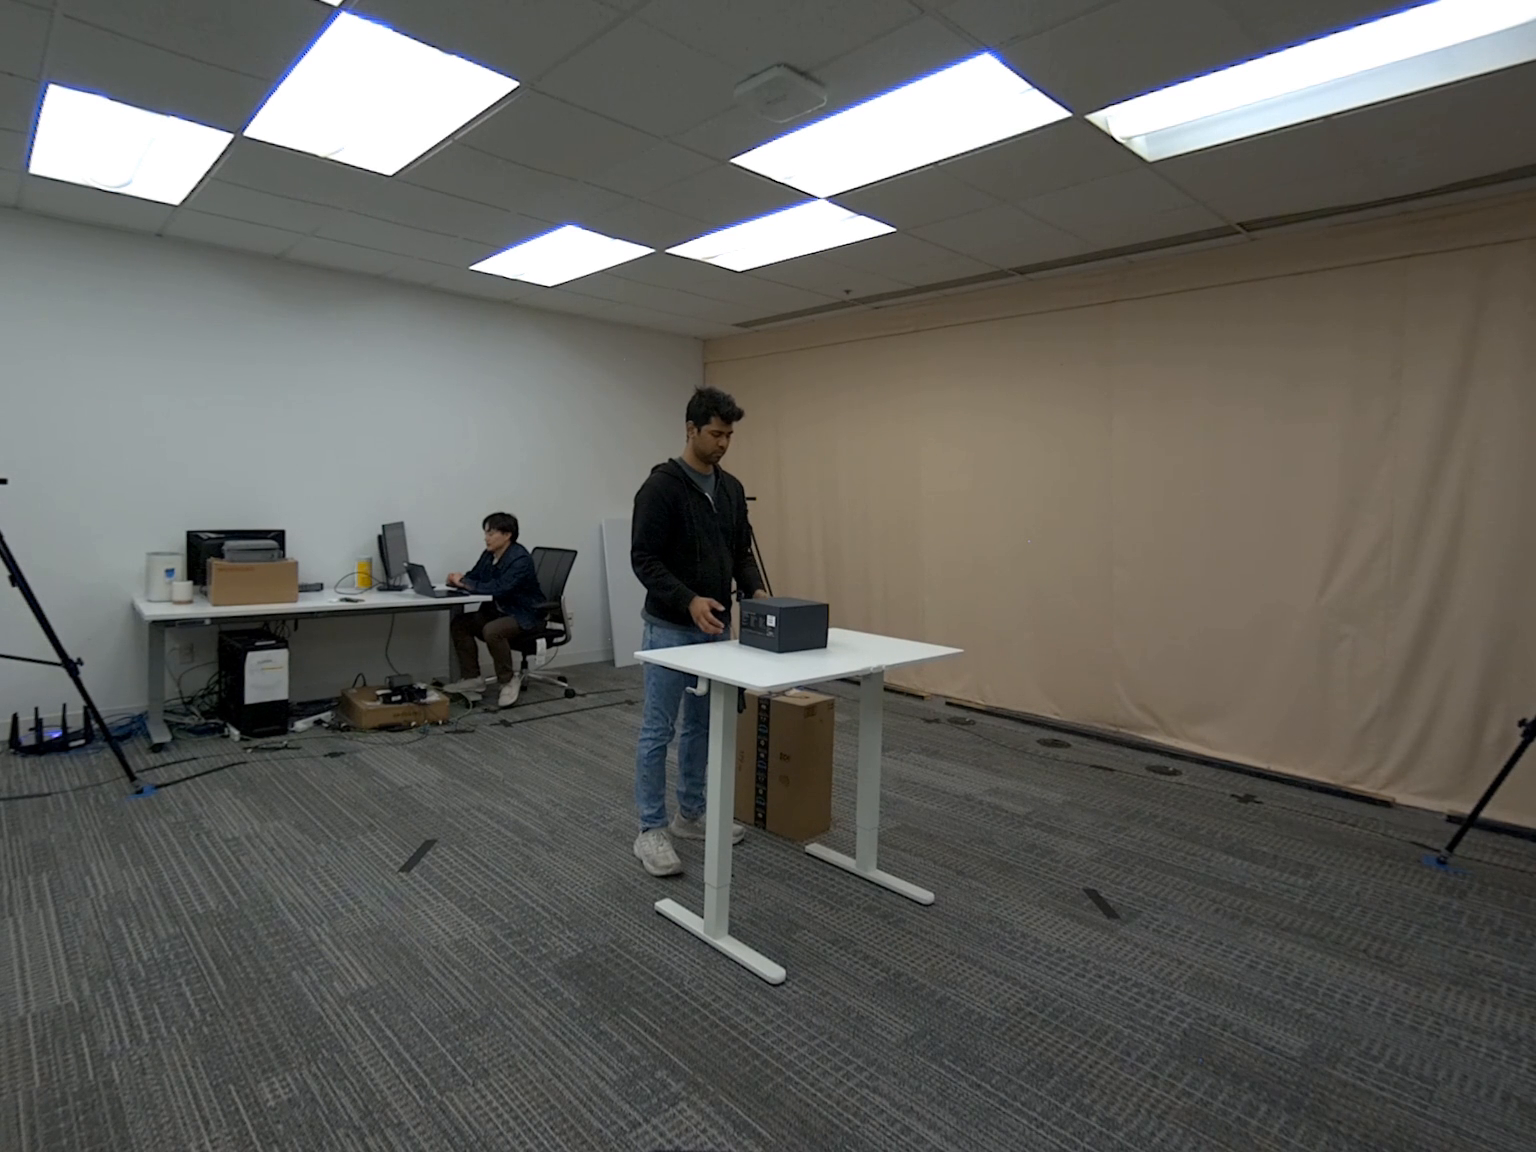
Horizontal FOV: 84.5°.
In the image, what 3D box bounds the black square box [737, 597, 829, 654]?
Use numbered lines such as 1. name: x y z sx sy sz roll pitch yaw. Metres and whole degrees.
1. black square box: 0.053 0.169 2.920 0.223 0.155 0.222 -2 6 -39
